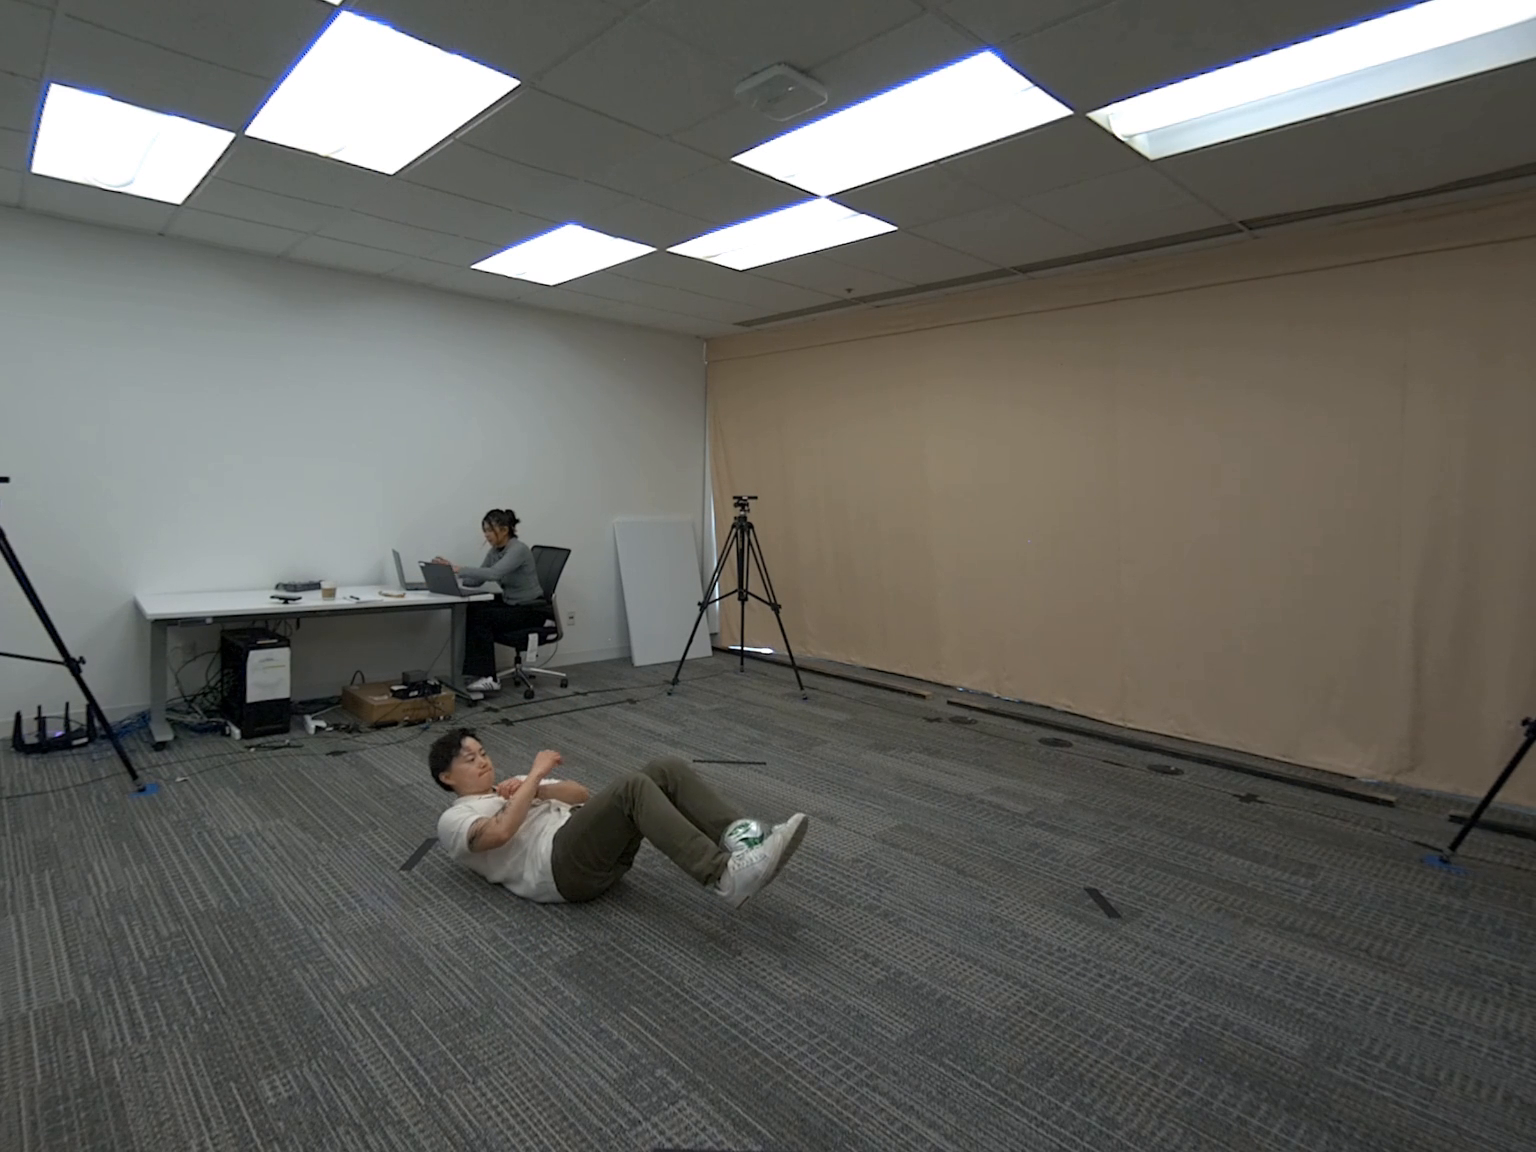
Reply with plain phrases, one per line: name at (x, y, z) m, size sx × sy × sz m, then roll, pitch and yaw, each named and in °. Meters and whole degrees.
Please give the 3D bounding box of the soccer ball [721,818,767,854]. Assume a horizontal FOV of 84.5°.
soccer ball at (-0.083, 0.879, 2.677) m, size 0.187 × 0.187 × 0.188 m, roll 1°, pitch 4°, yaw -1°
